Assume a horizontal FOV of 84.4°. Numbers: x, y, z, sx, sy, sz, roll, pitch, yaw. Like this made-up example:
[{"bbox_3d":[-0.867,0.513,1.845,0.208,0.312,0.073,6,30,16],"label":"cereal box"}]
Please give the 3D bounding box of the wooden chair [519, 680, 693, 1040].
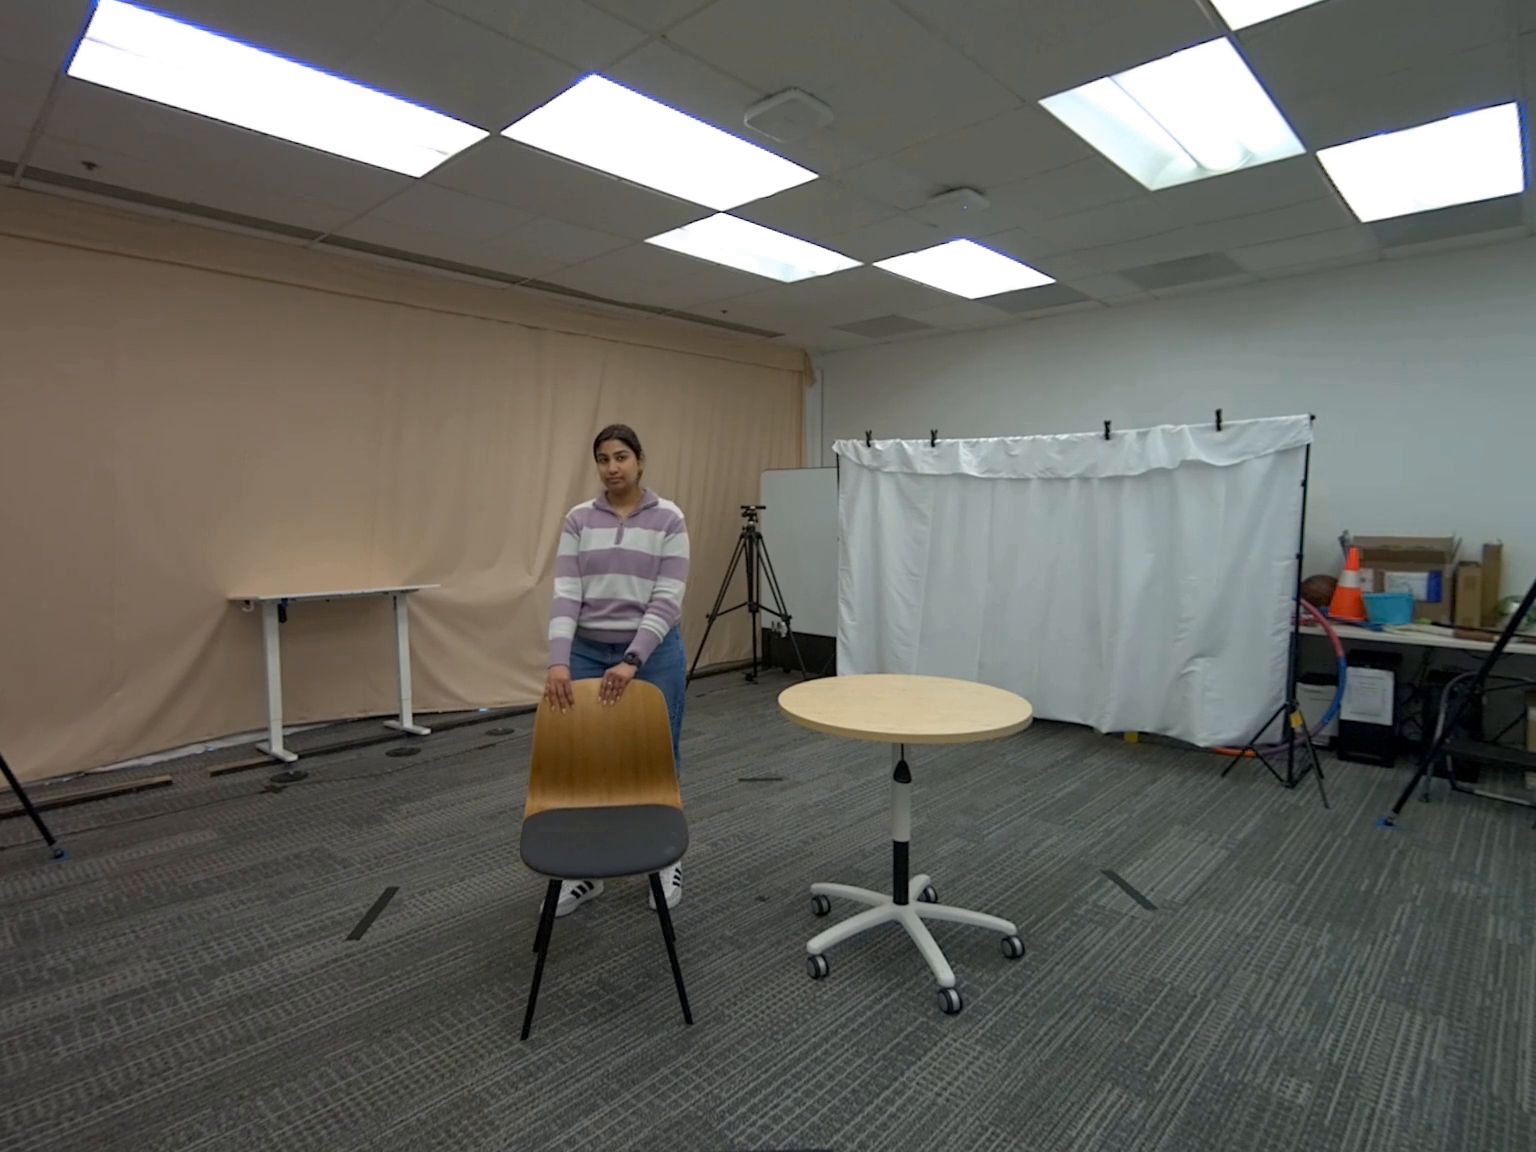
[{"bbox_3d":[-0.455,0.766,2.413,0.473,0.878,0.528,0,-1,-11],"label":"wooden chair"}]
